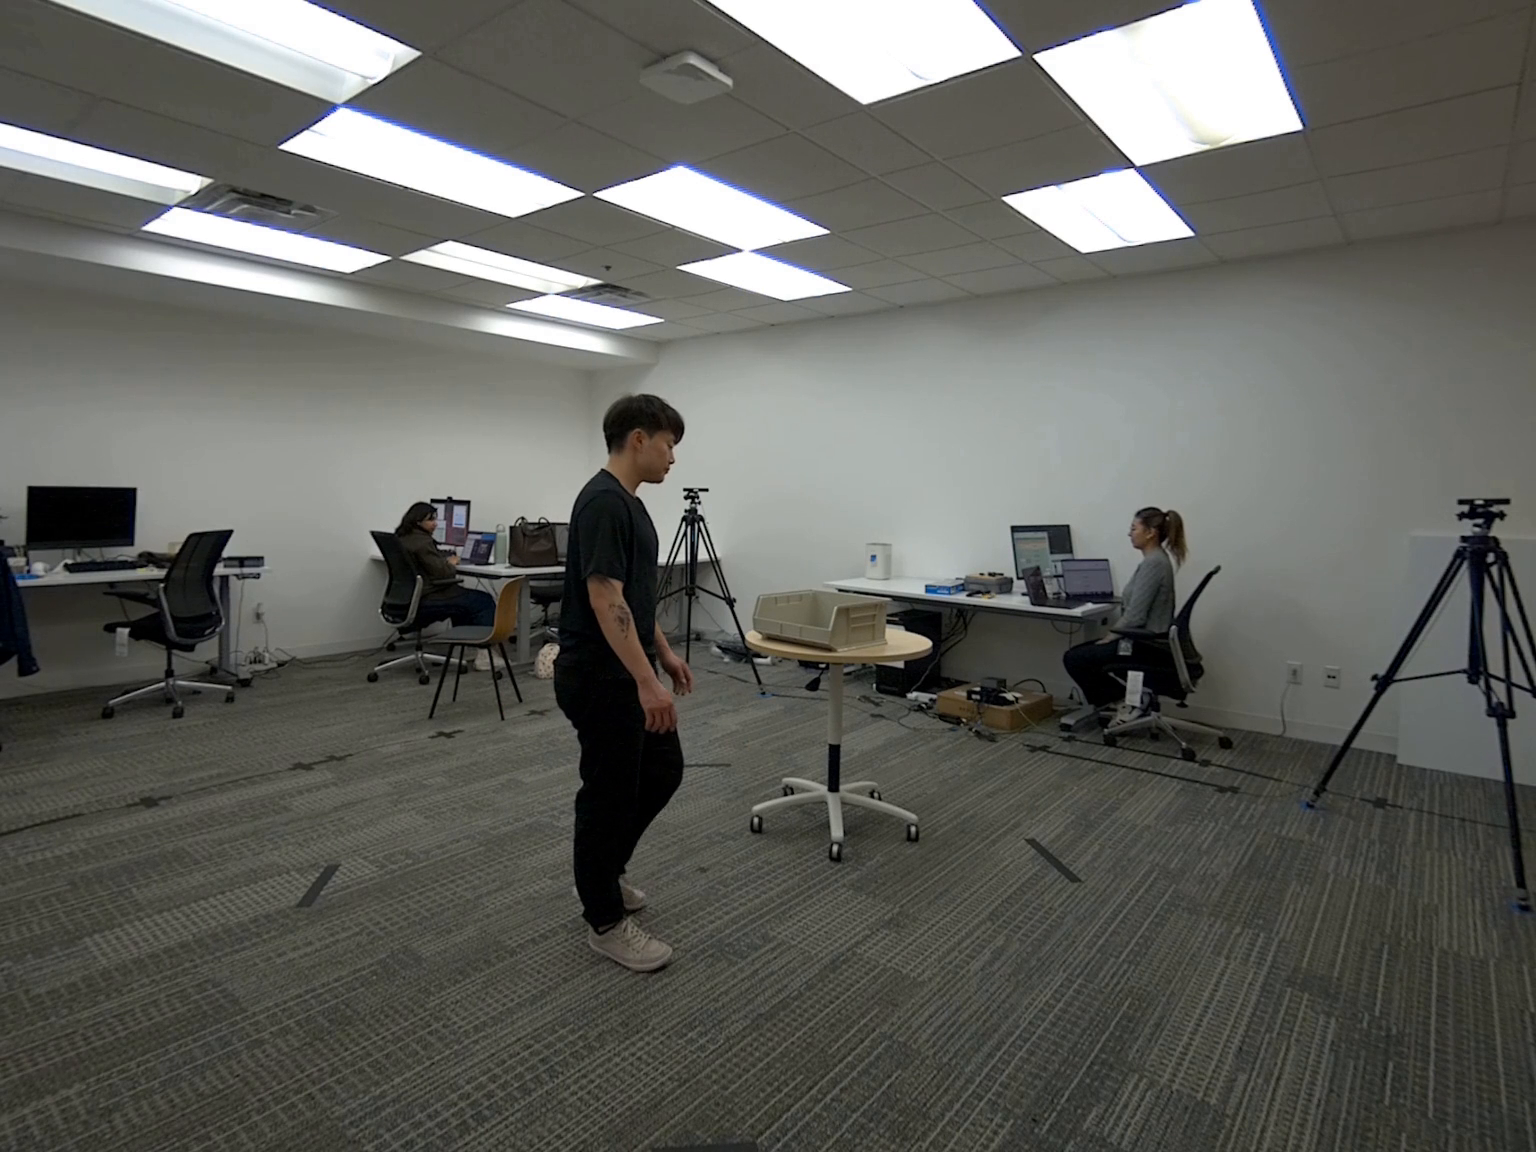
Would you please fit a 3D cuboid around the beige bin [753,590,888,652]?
[{"bbox_3d":[0.210,0.175,3.448,0.366,0.188,0.437,-3,6,-44],"label":"beige bin"}]
